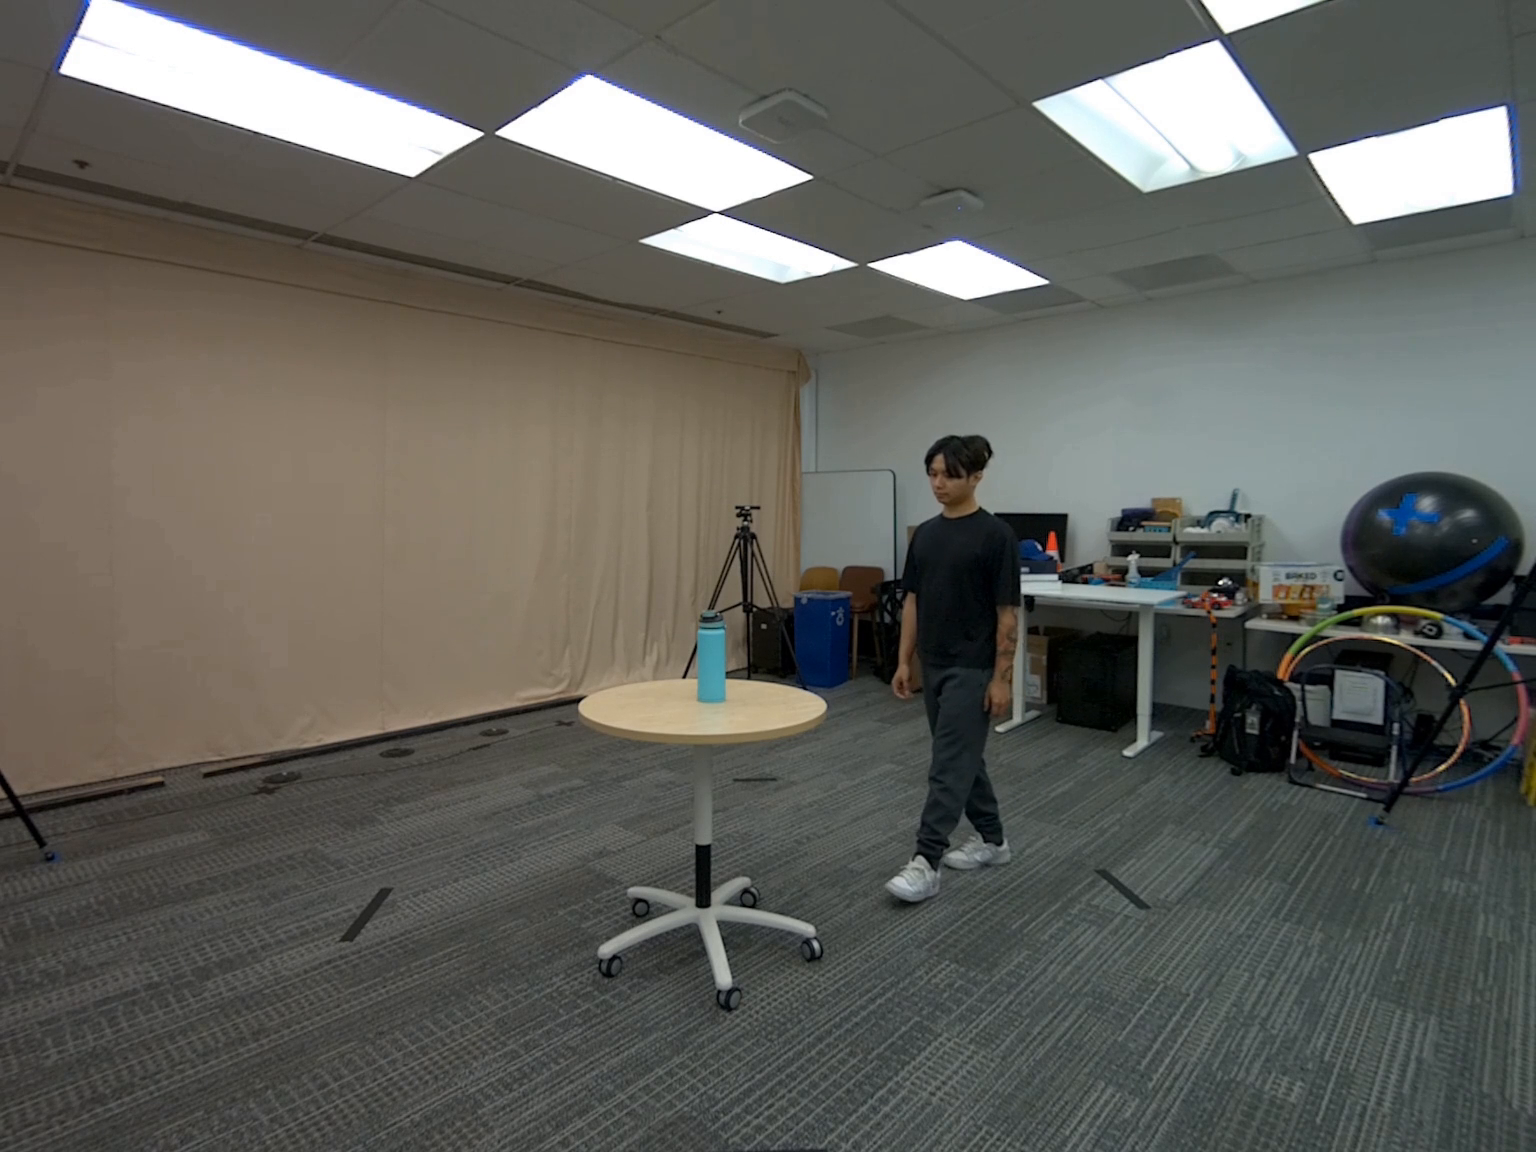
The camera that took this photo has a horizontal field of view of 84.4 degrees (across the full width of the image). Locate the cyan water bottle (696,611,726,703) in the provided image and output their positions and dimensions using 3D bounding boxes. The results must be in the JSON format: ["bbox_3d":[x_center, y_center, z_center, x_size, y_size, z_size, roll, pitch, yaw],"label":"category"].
[{"bbox_3d":[-0.176,0.254,2.645,0.092,0.283,0.092,1,0,-2],"label":"cyan water bottle"}]
